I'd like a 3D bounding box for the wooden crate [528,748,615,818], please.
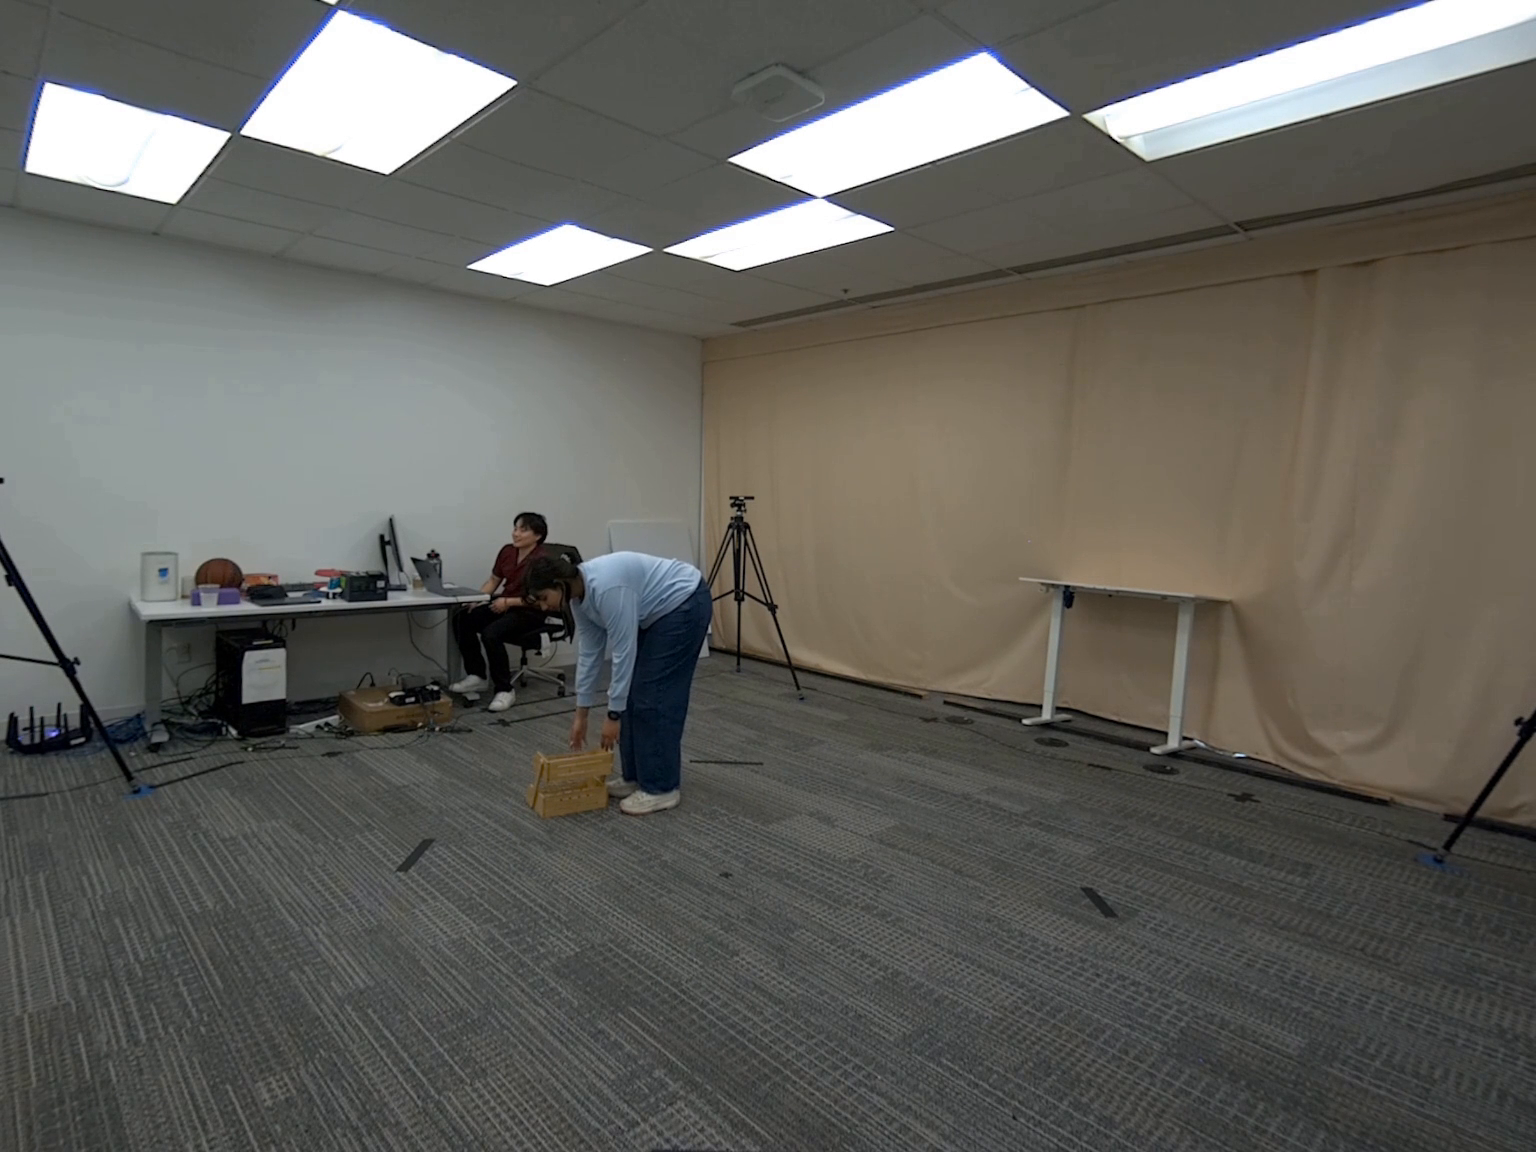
[{"bbox_3d":[-0.898,0.893,3.766,0.318,0.272,0.309,-1,5,-31],"label":"wooden crate"}]
